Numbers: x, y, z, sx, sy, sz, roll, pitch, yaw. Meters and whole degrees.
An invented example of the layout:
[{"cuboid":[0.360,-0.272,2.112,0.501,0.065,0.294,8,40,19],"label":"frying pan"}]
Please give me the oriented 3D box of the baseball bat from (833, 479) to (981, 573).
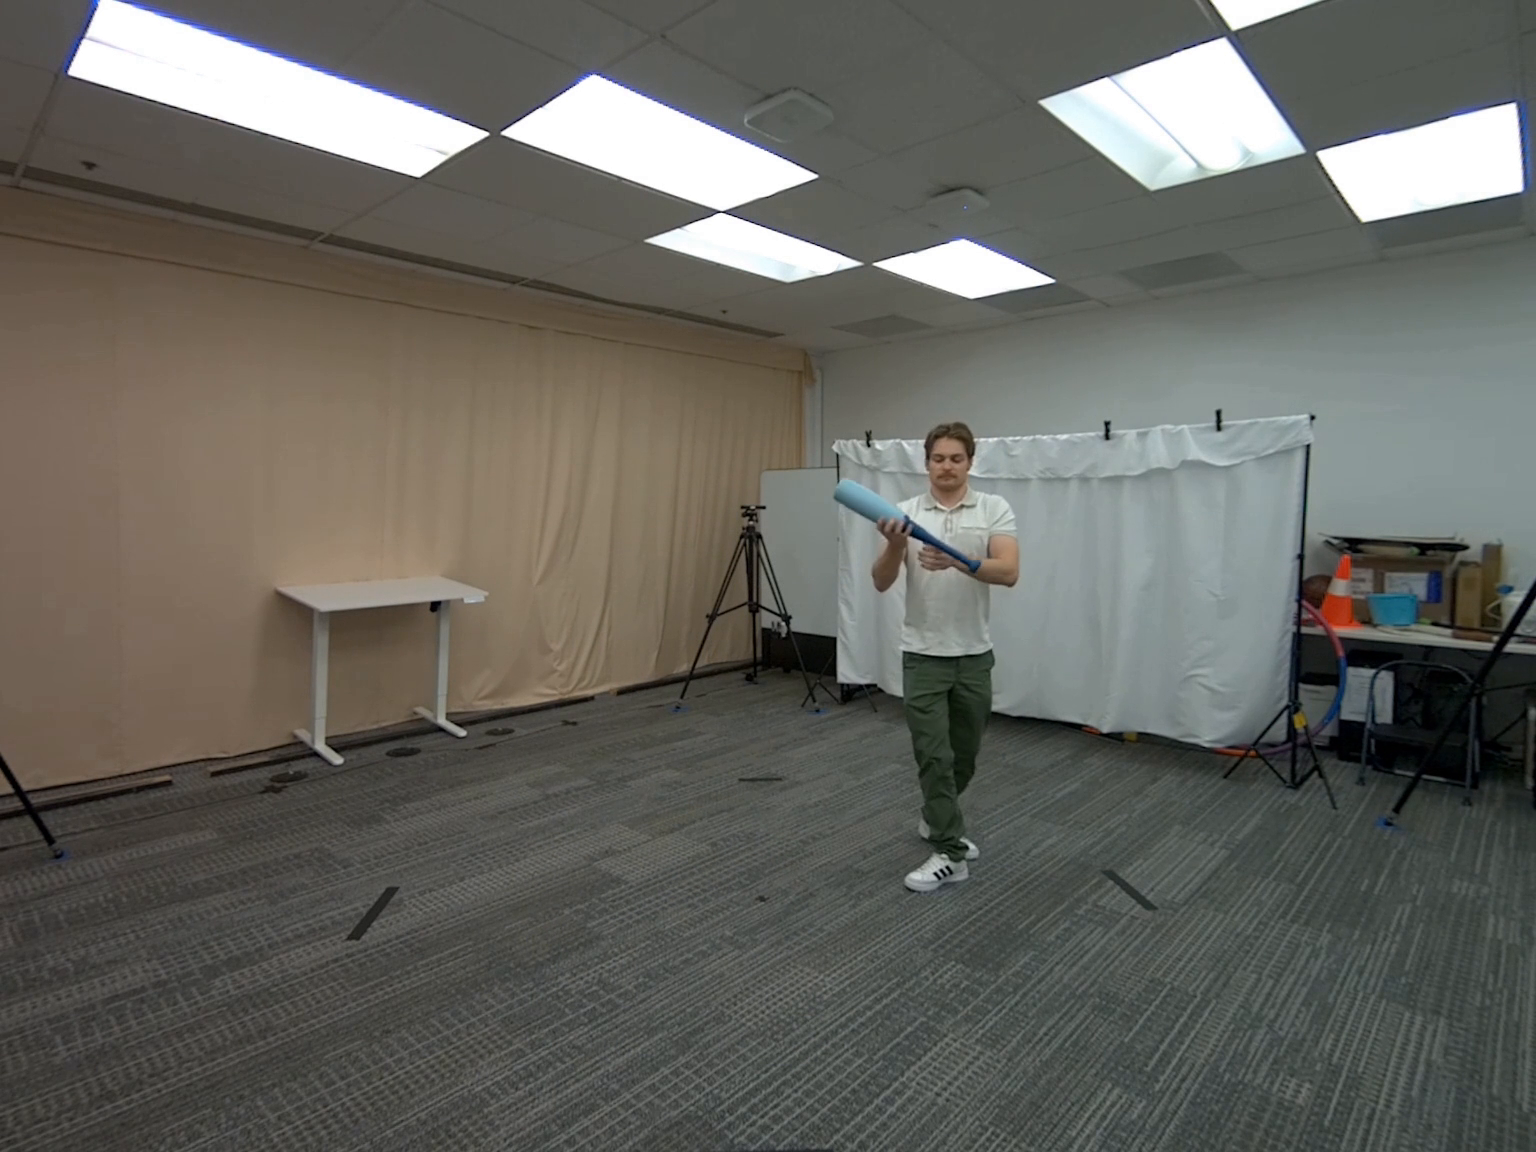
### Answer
[{"cuboid":[0.475,-0.166,2.841,0.553,0.089,0.087,32,12,14],"label":"baseball bat"}]
